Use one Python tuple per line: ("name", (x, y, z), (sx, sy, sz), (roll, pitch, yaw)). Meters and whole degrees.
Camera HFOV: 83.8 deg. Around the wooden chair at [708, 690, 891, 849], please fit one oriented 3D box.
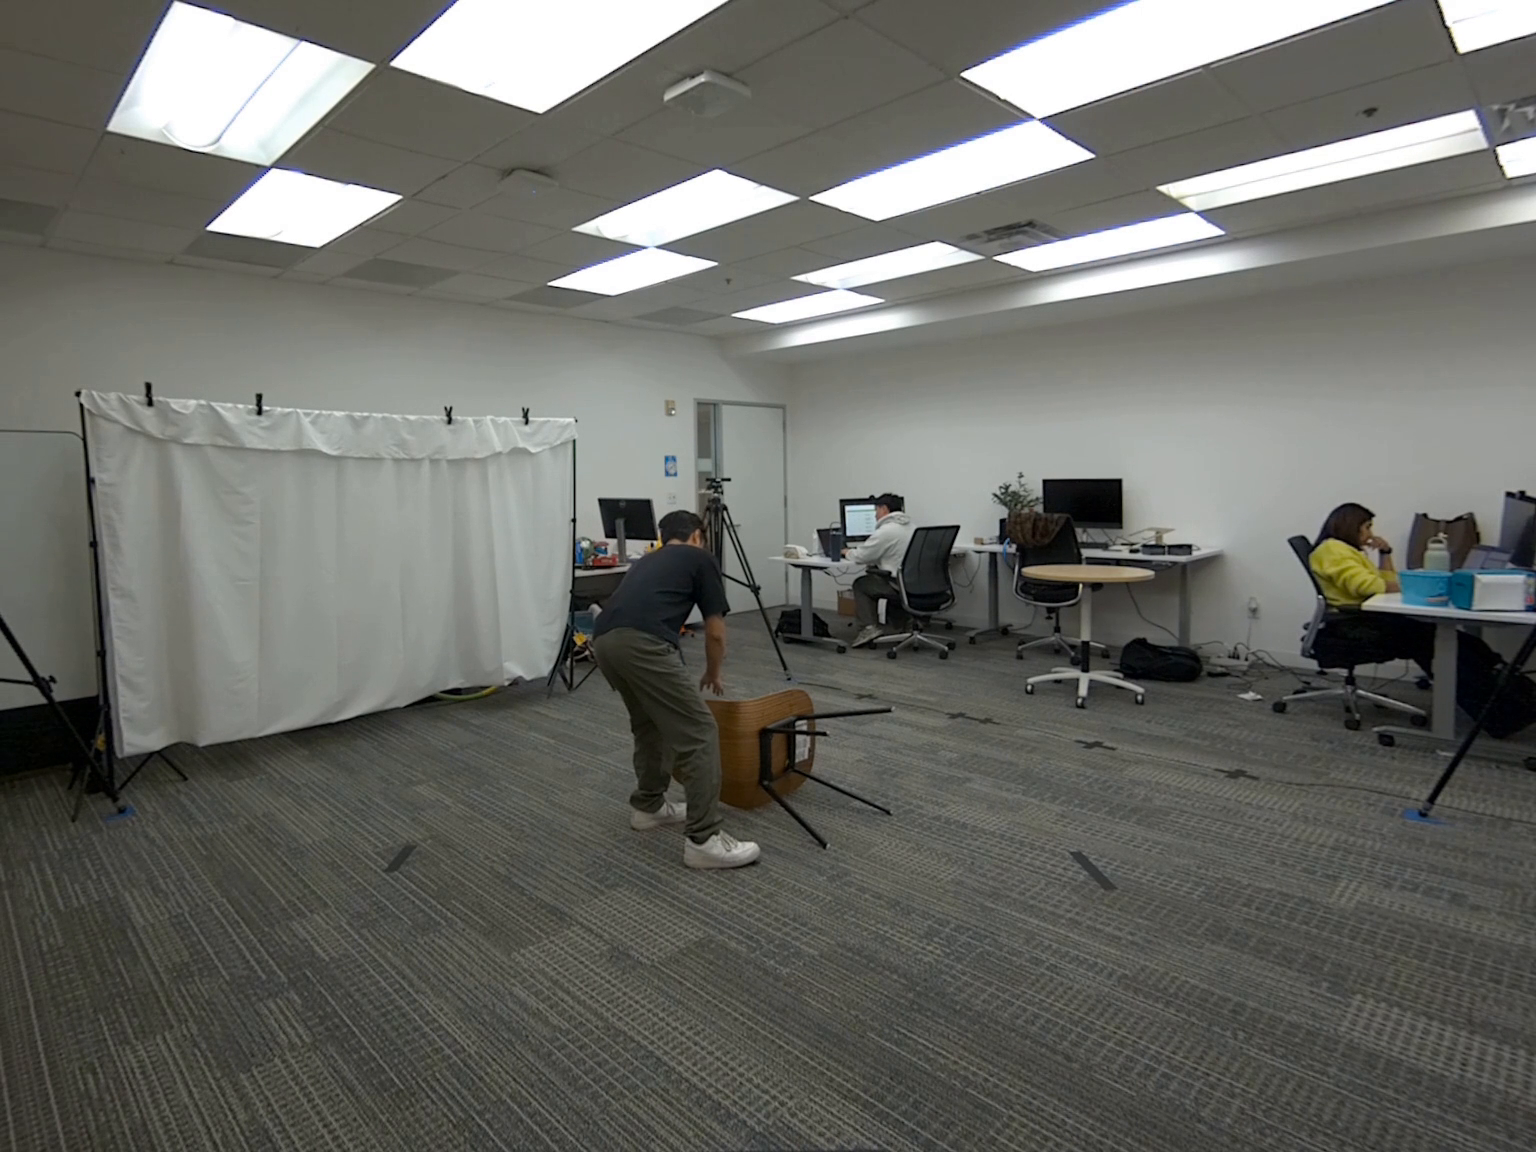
("wooden chair", (0.050, 0.749, 3.643), (0.904, 0.476, 0.510), (4, 8, 38))
